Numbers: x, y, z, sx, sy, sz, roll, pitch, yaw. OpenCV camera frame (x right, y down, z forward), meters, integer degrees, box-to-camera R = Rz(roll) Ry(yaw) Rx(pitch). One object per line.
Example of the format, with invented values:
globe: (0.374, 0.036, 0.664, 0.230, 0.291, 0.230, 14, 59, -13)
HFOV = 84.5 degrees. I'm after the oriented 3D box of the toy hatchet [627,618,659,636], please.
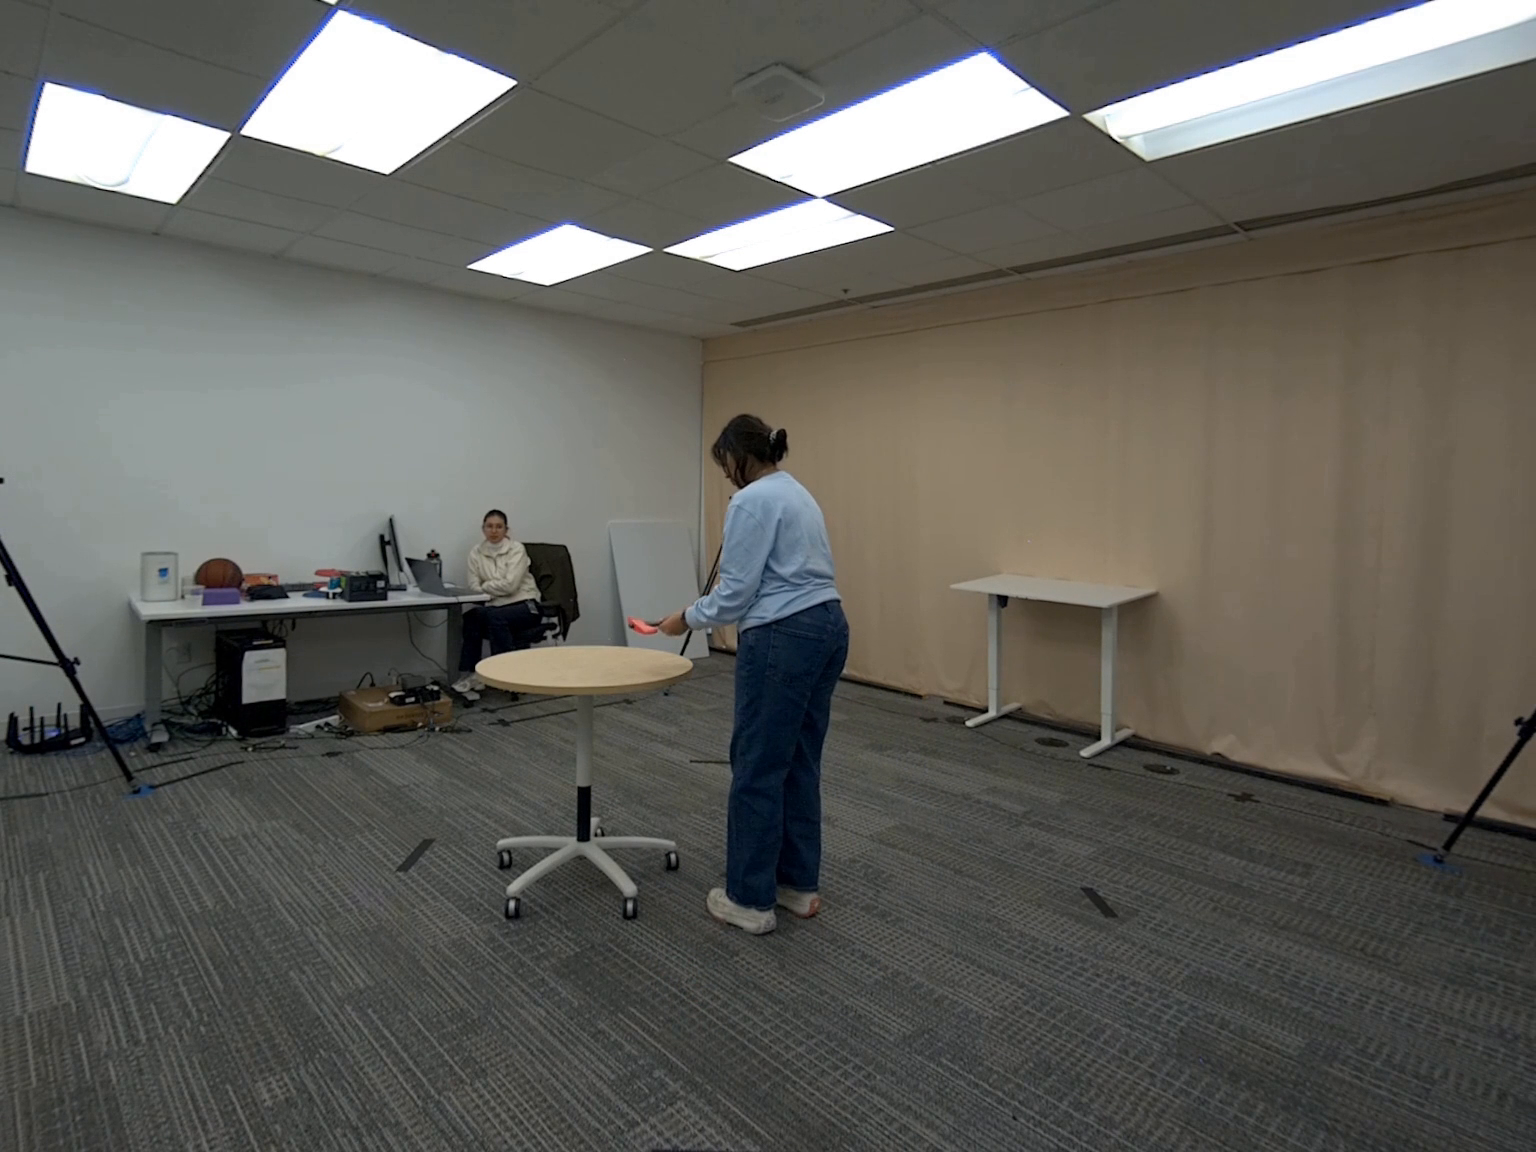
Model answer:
toy hatchet: (-0.351, 0.189, 2.919, 0.266, 0.029, 0.134, 7, 16, -16)
